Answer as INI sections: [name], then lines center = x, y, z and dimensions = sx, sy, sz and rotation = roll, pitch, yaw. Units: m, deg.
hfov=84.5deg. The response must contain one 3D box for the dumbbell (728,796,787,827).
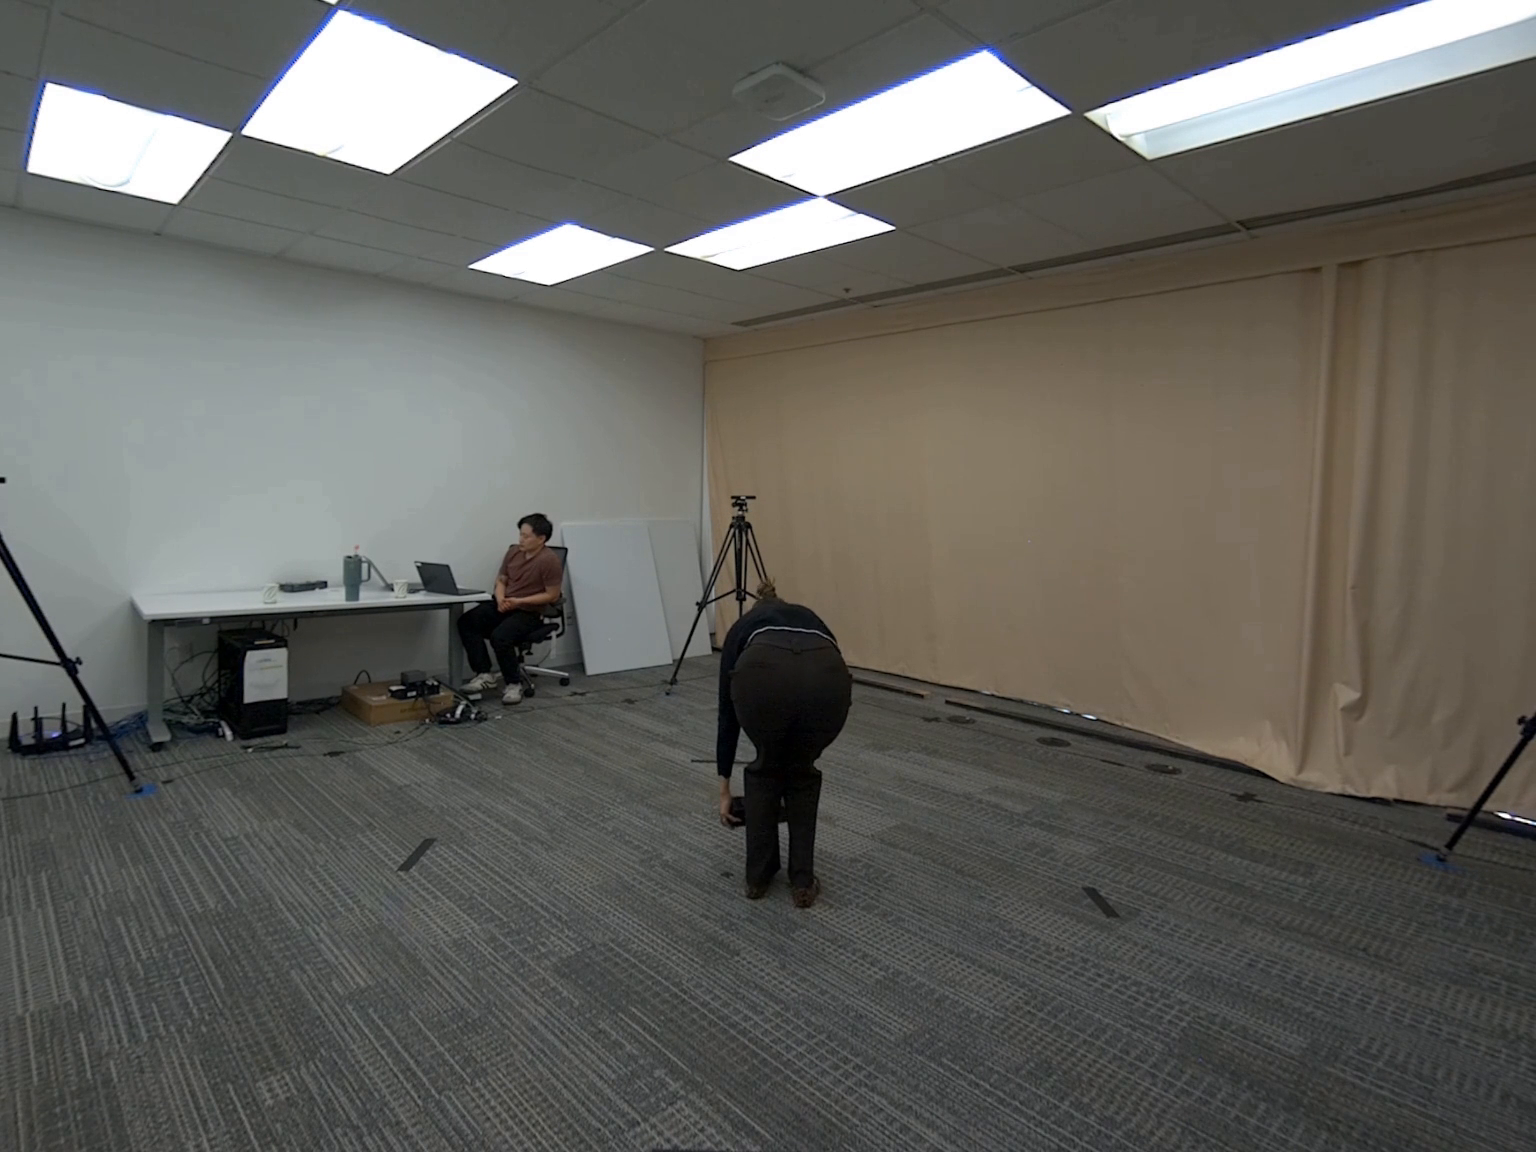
[dumbbell]
center = -0.026, 0.903, 3.226
dimensions = 0.288, 0.110, 0.123
rotation = 3, -24, -22
